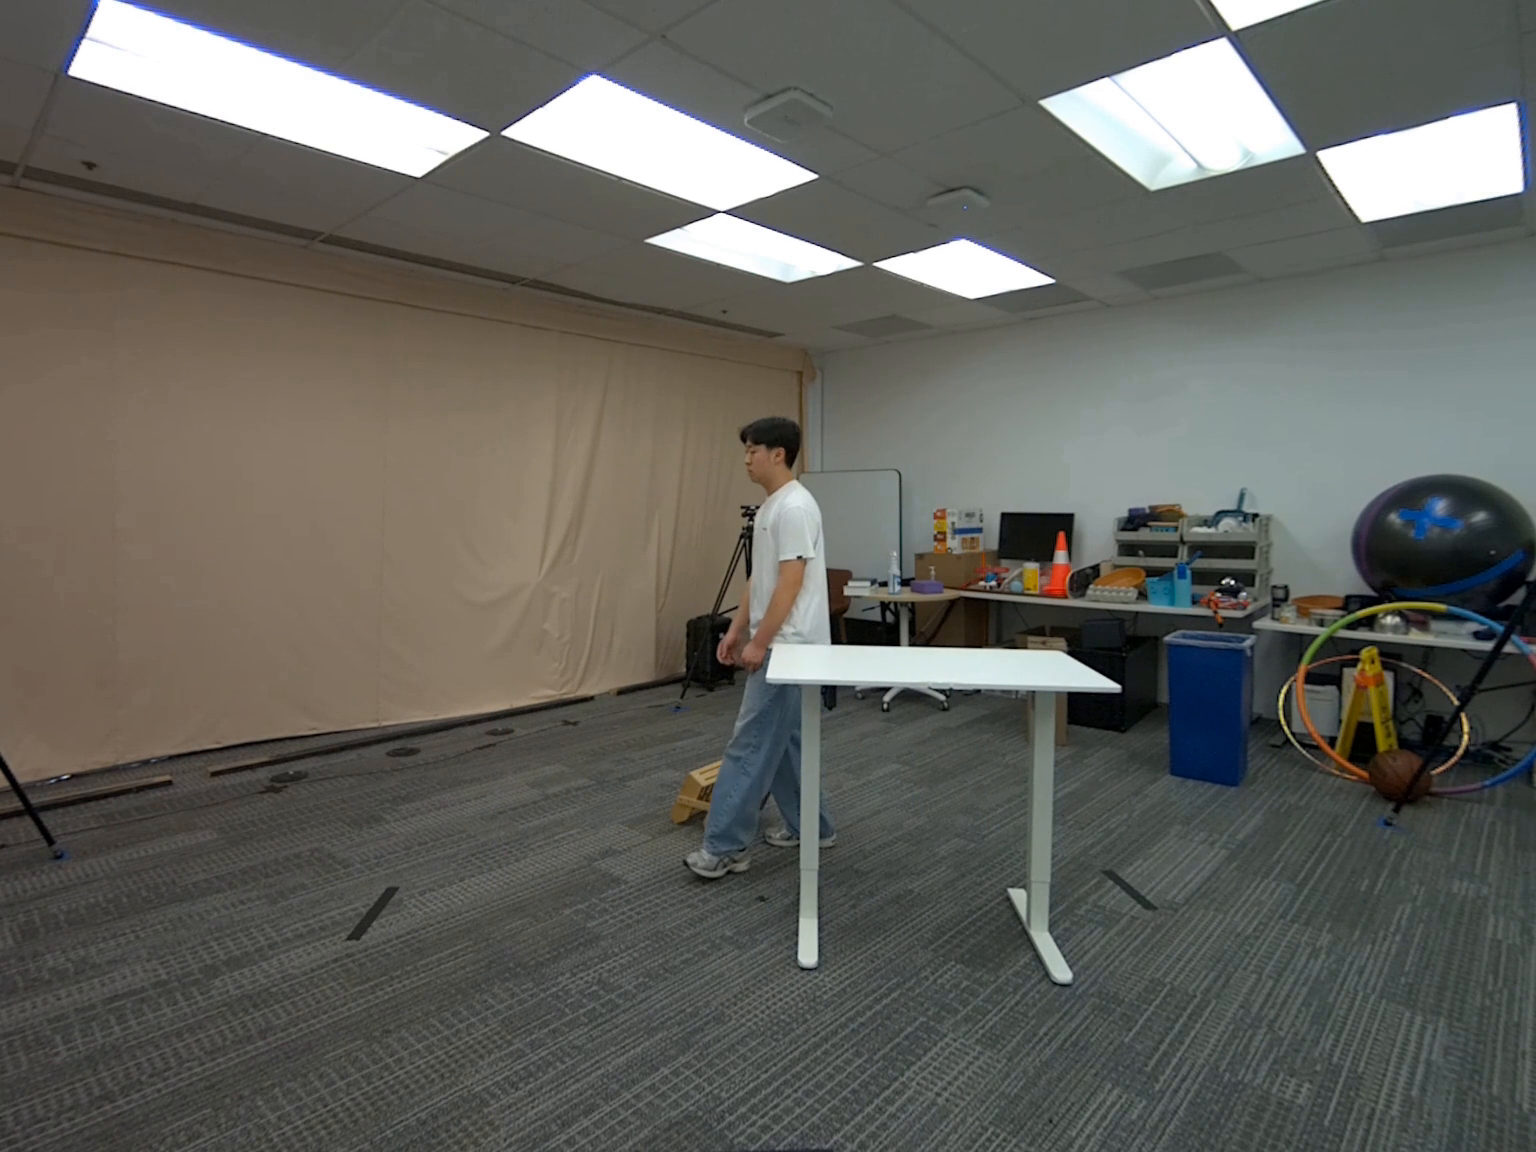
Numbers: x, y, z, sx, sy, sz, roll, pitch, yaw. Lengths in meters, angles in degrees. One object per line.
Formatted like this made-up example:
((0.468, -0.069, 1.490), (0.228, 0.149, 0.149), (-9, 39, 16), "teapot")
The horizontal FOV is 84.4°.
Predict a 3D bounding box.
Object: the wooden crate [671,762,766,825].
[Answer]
((-0.200, 0.996, 3.719), (0.282, 0.301, 0.315), (34, 23, 30), "wooden crate")
